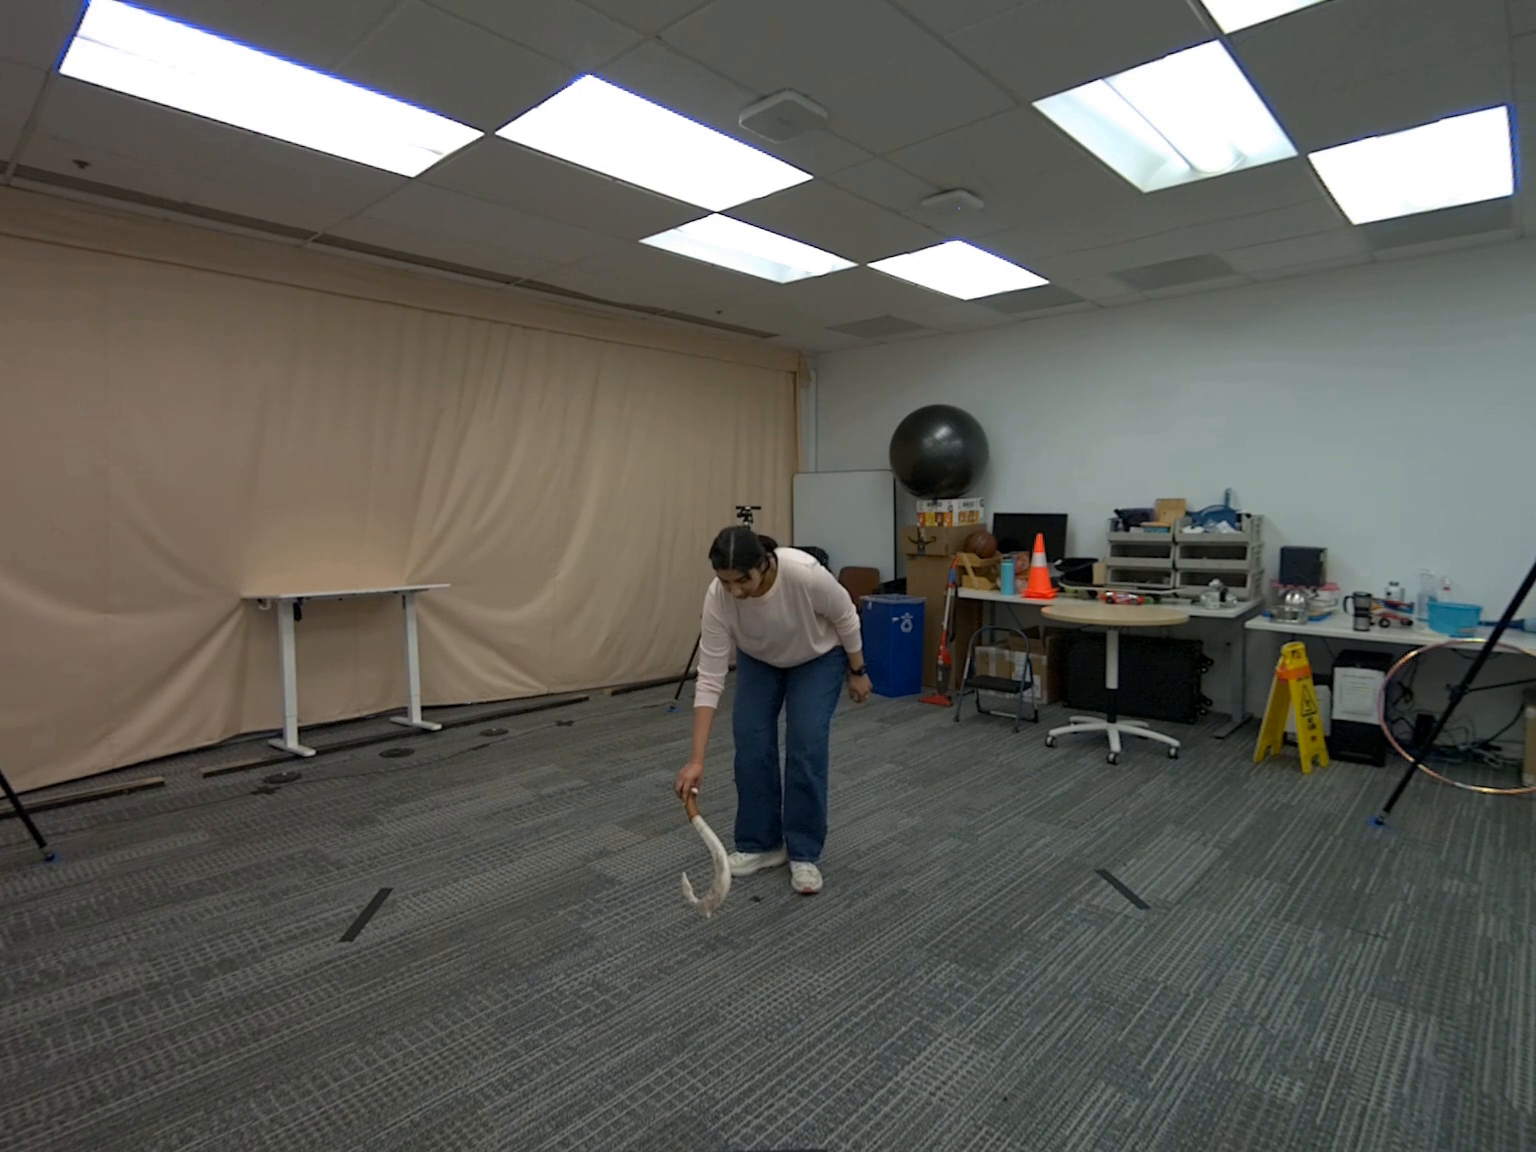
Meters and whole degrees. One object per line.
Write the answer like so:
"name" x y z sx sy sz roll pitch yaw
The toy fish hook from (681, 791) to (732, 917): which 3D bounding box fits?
"toy fish hook" -0.242 0.871 2.762 0.047 0.225 0.522 26 19 -33
